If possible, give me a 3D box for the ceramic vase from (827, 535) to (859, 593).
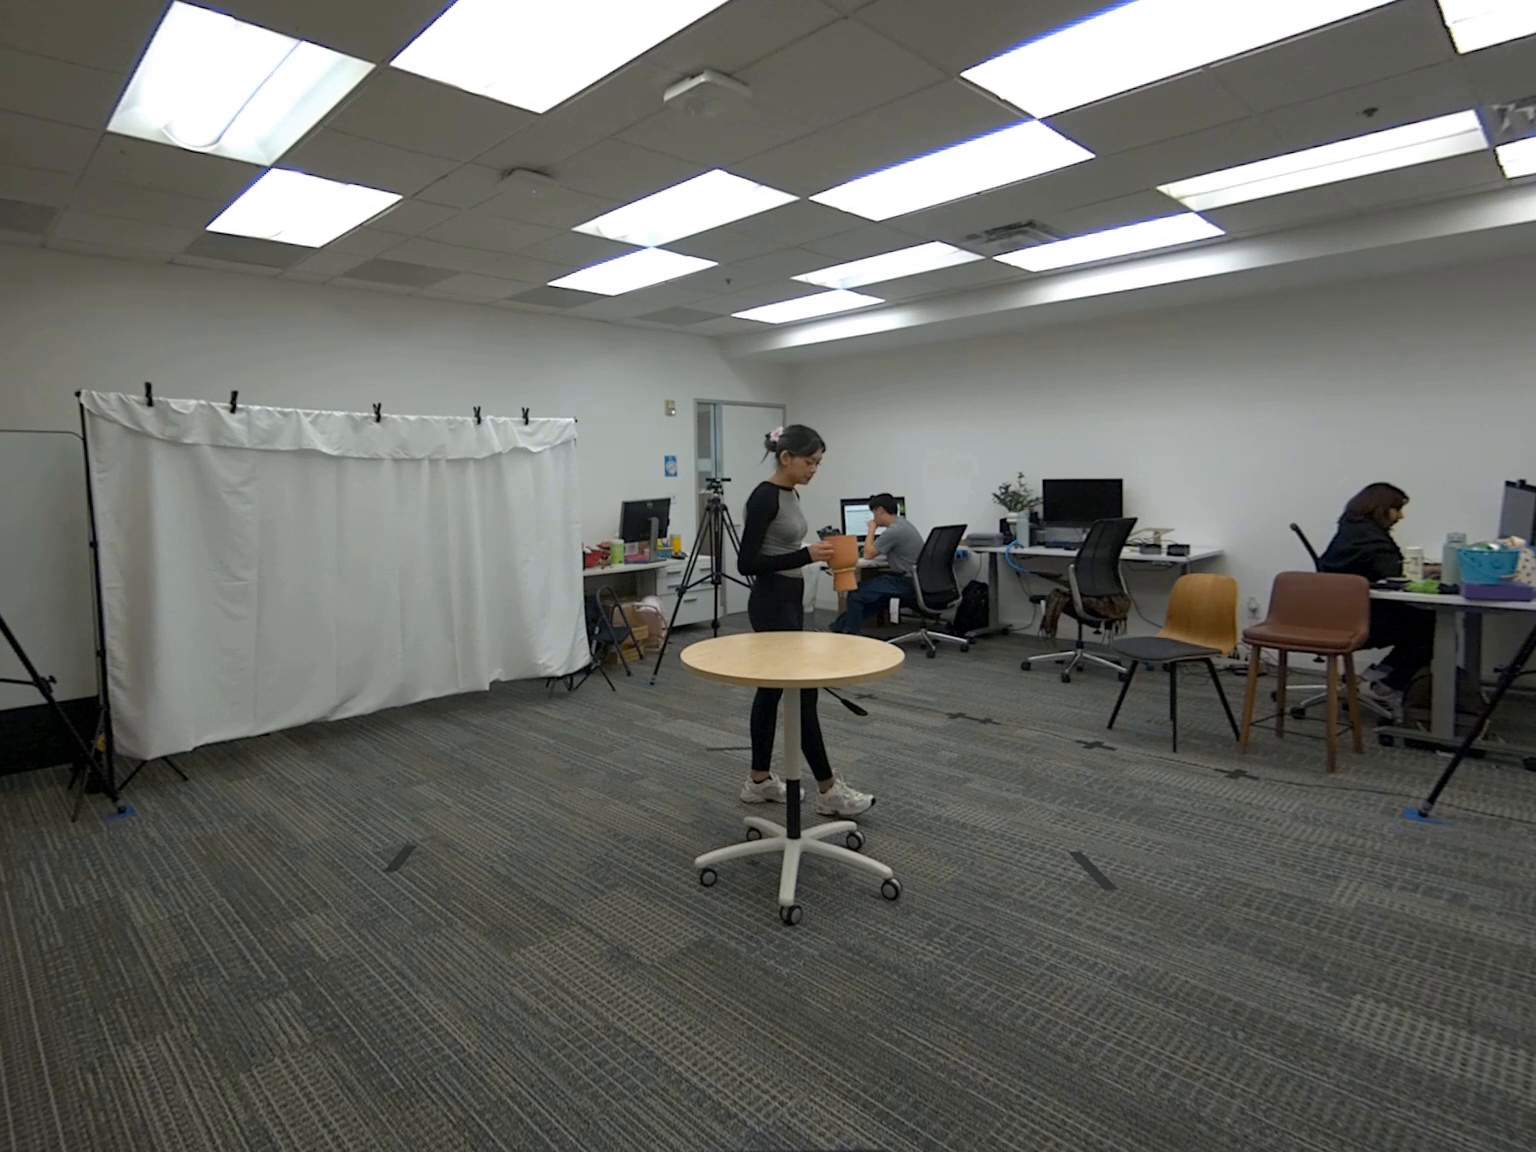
[{"bbox_3d":[0.299,-0.053,3.459,0.159,0.220,0.134,-5,0,0],"label":"ceramic vase"}]
